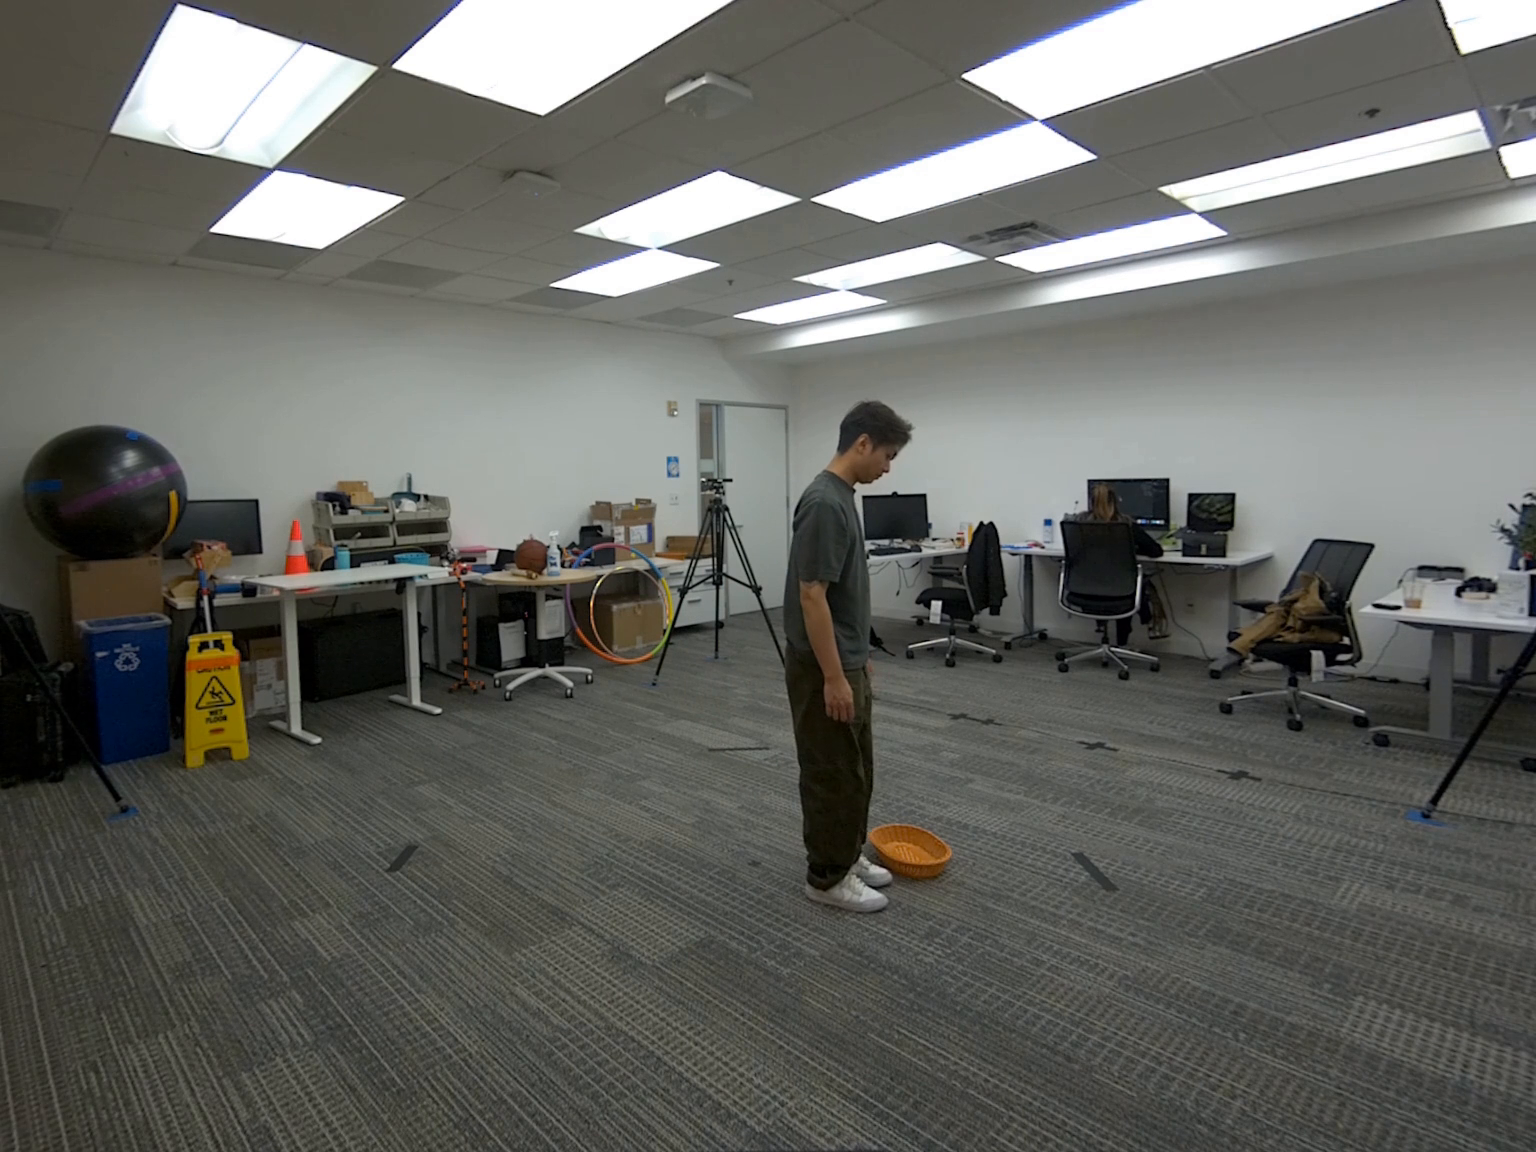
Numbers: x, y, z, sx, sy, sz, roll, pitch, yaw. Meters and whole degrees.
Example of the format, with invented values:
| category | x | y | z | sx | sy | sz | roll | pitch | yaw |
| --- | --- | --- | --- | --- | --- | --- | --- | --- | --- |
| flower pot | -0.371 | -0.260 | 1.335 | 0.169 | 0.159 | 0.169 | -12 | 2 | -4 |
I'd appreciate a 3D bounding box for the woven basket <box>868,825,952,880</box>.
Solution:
| category | x | y | z | sx | sy | sz | roll | pitch | yaw |
| --- | --- | --- | --- | --- | --- | --- | --- | --- | --- |
| woven basket | 0.510 | 0.996 | 3.096 | 0.249 | 0.073 | 0.356 | -3 | 6 | -15 |
